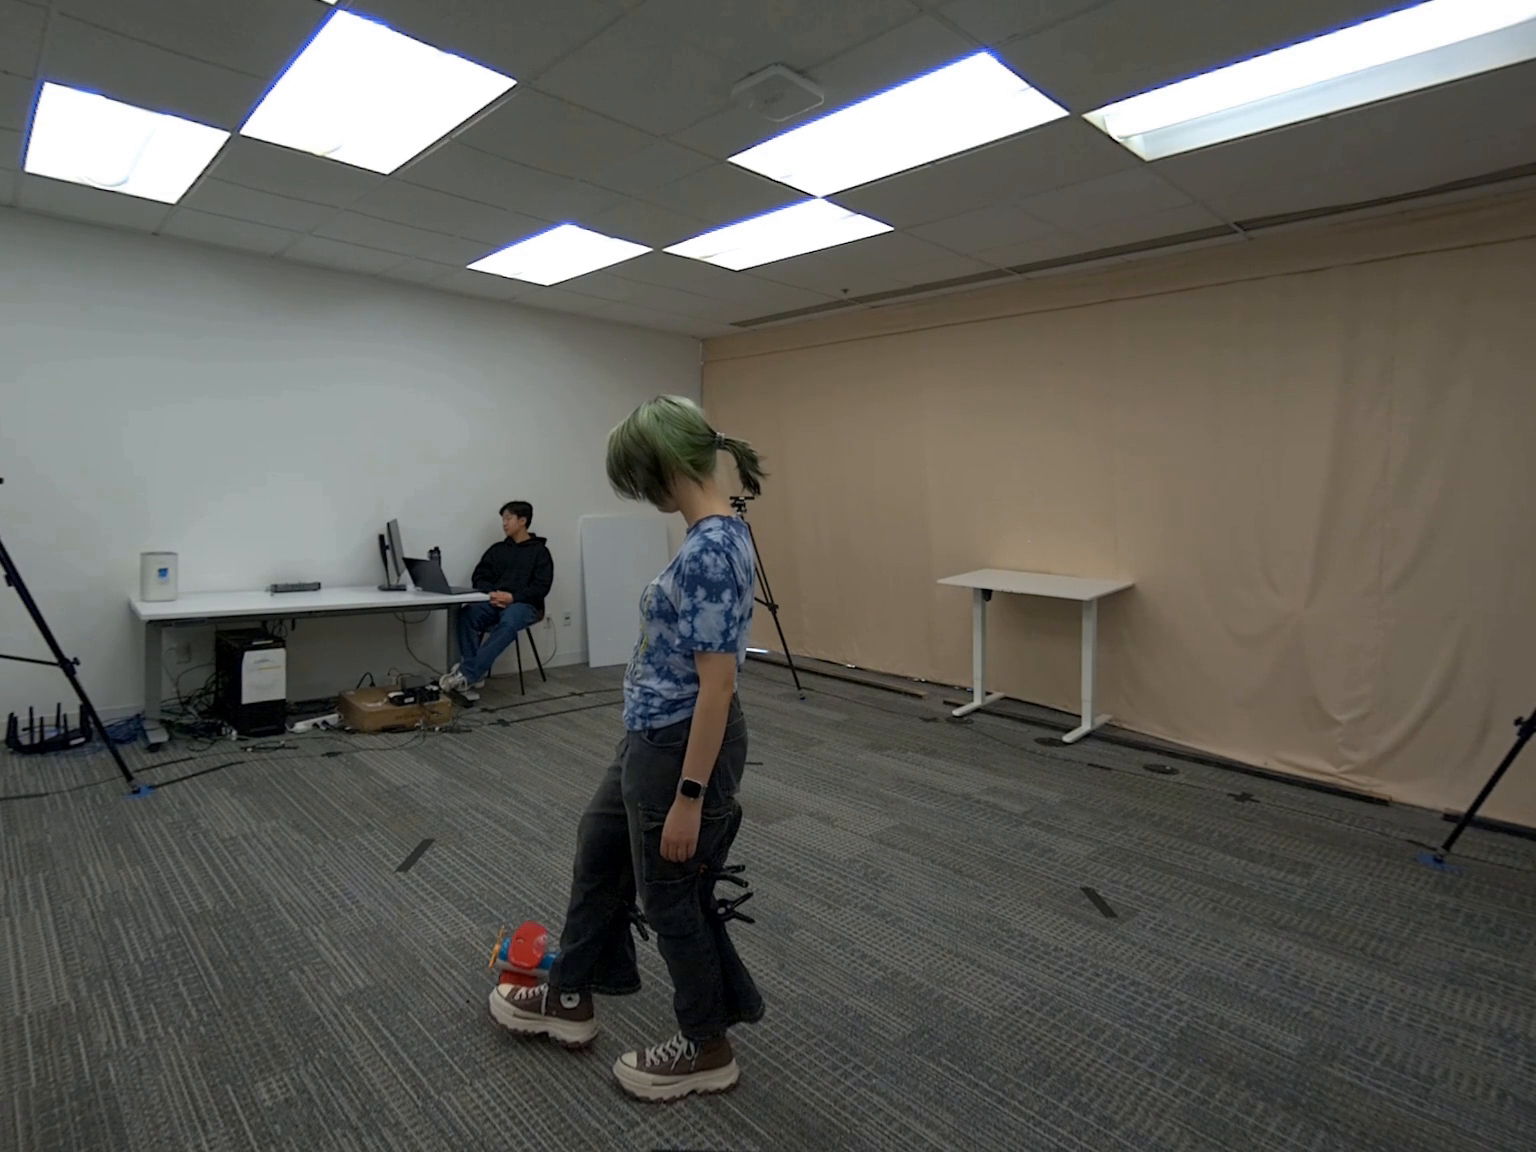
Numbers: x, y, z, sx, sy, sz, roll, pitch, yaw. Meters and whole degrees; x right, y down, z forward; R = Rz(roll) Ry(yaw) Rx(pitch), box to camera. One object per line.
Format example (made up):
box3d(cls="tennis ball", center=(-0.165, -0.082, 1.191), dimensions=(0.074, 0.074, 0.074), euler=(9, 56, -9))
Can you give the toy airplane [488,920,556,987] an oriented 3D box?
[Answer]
box3d(cls="toy airplane", center=(-0.651, 1.089, 2.349), dimensions=(0.253, 0.156, 0.257), euler=(0, 1, -34))
